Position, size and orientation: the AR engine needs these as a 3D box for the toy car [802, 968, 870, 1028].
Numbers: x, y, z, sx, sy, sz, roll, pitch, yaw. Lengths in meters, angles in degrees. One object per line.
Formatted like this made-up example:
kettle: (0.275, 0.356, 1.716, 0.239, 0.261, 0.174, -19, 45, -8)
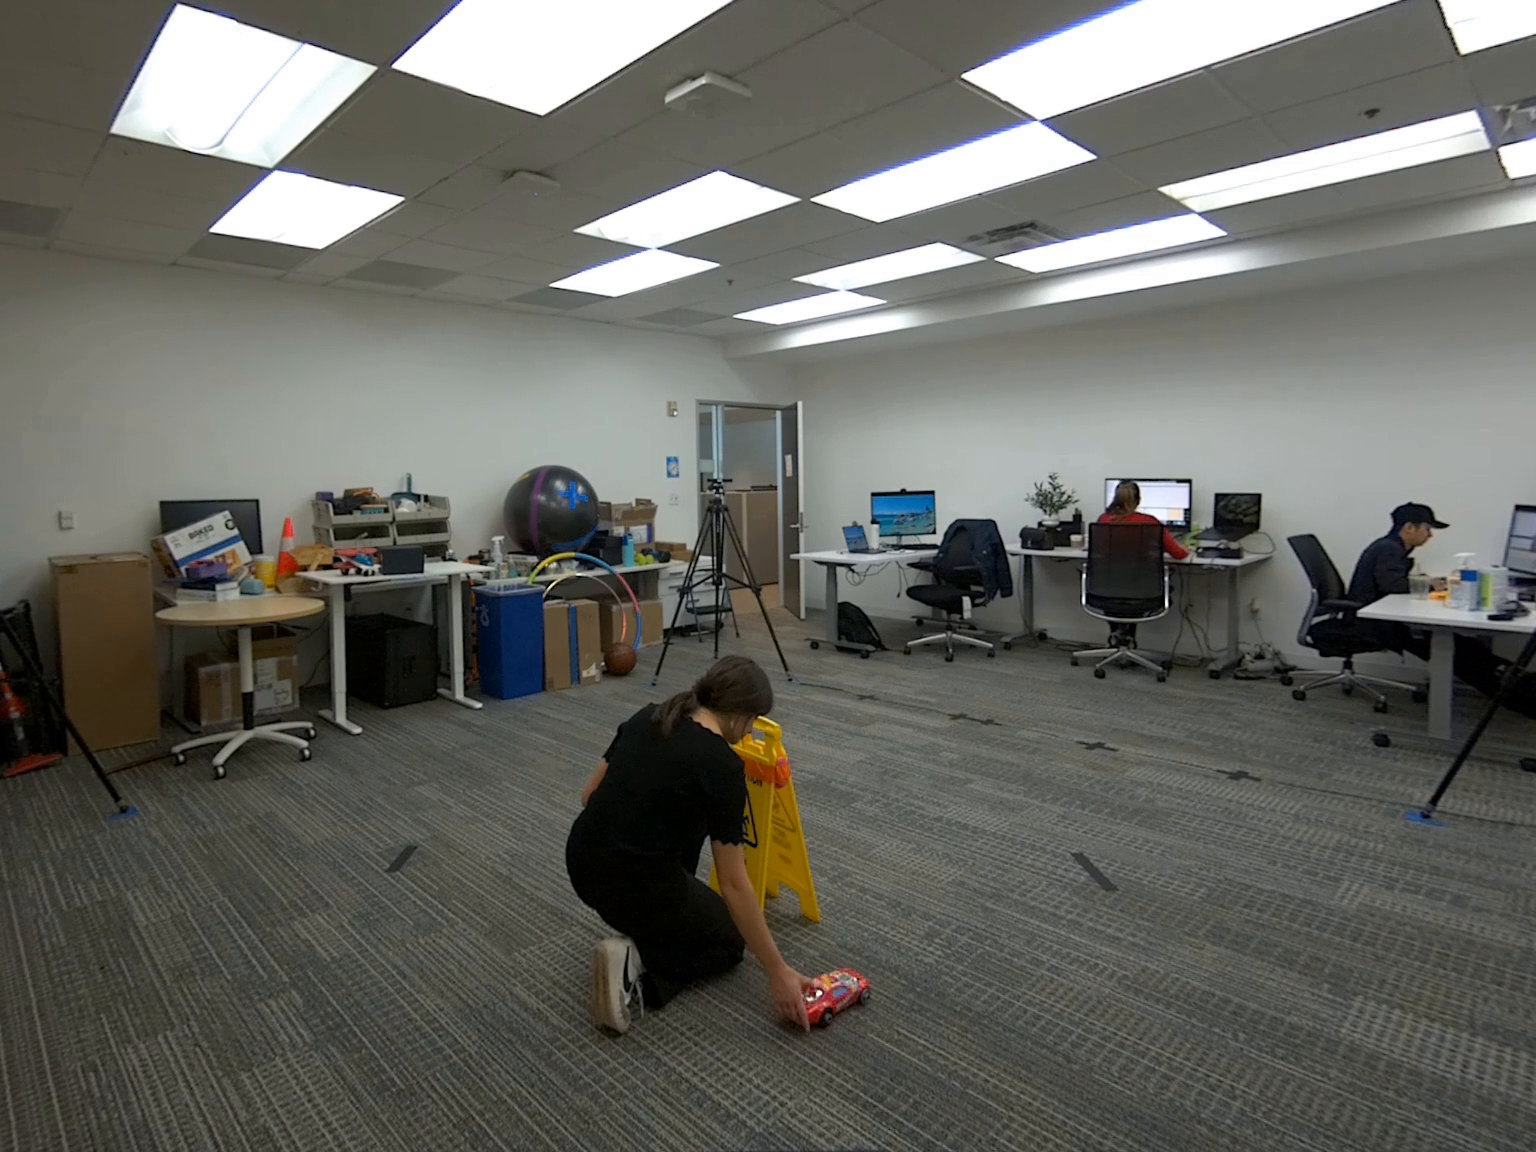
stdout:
toy car: (0.152, 1.108, 2.251, 0.246, 0.083, 0.134, 7, -1, -40)
